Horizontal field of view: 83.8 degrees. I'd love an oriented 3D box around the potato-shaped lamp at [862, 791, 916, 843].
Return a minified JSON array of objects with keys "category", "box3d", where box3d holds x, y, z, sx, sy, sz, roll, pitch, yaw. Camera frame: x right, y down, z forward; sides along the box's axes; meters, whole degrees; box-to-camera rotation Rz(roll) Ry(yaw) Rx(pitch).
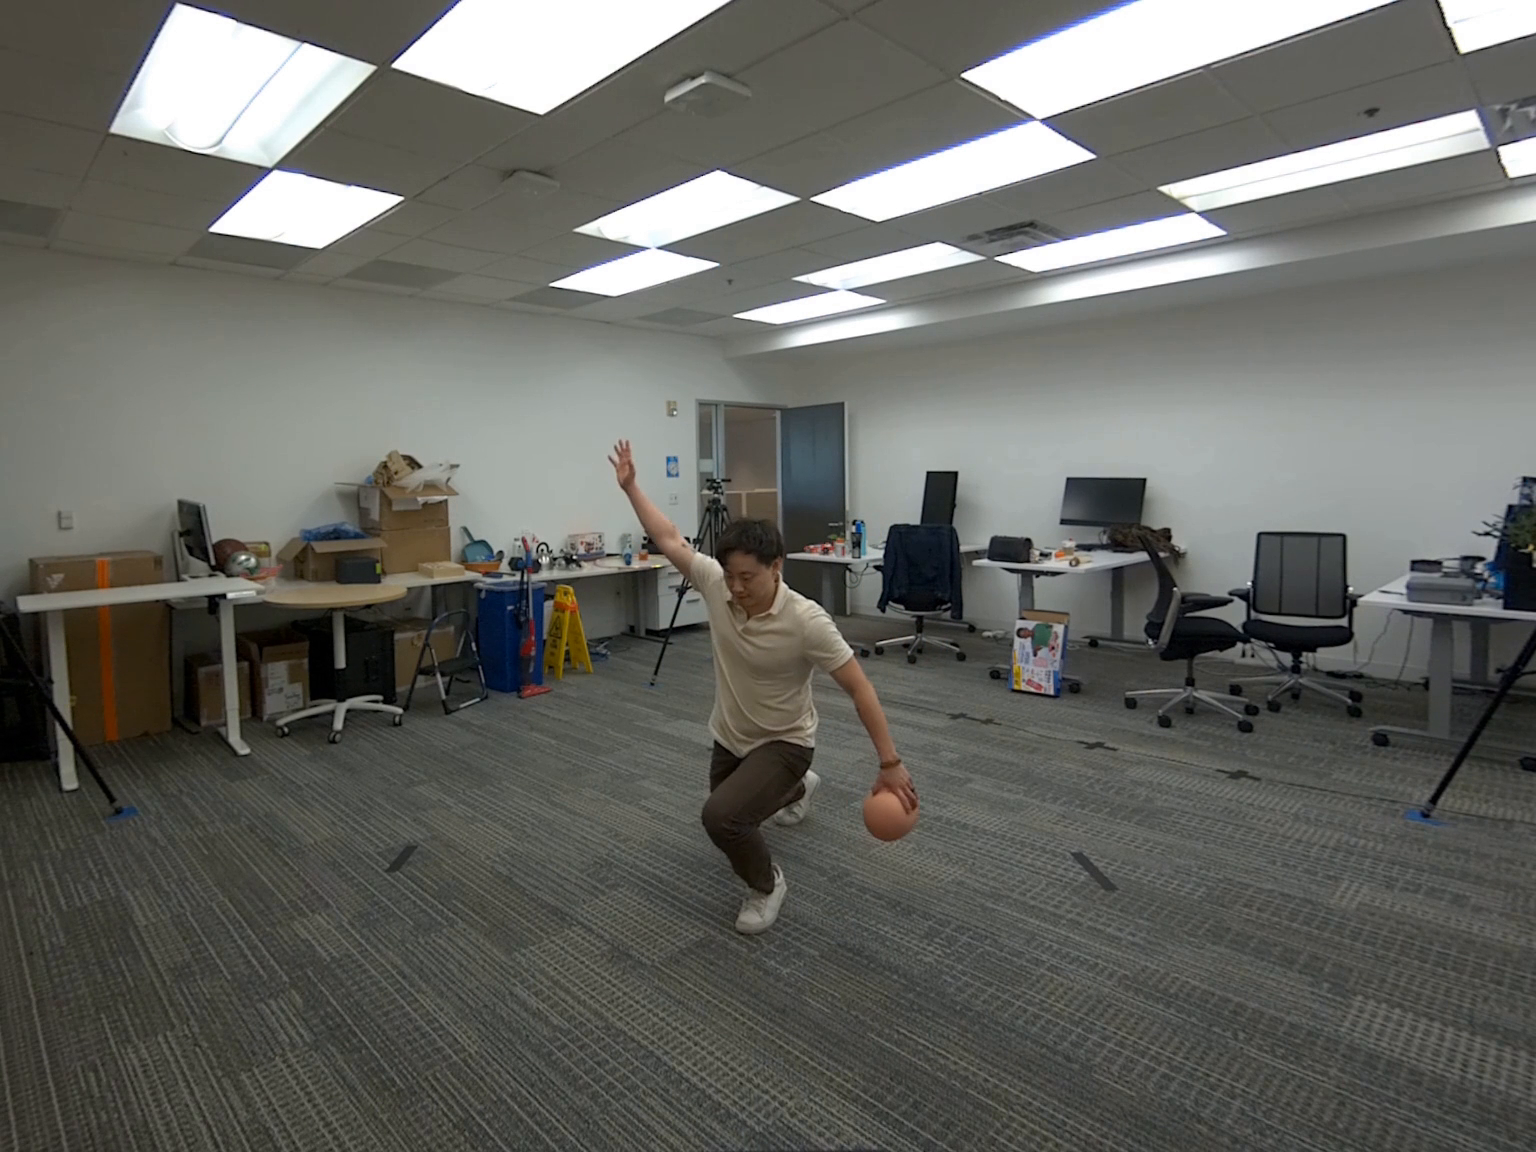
[{"category":"potato-shaped lamp","box3d":[0.376,0.715,2.603,0.168,0.171,0.194,26,-1,15]}]
